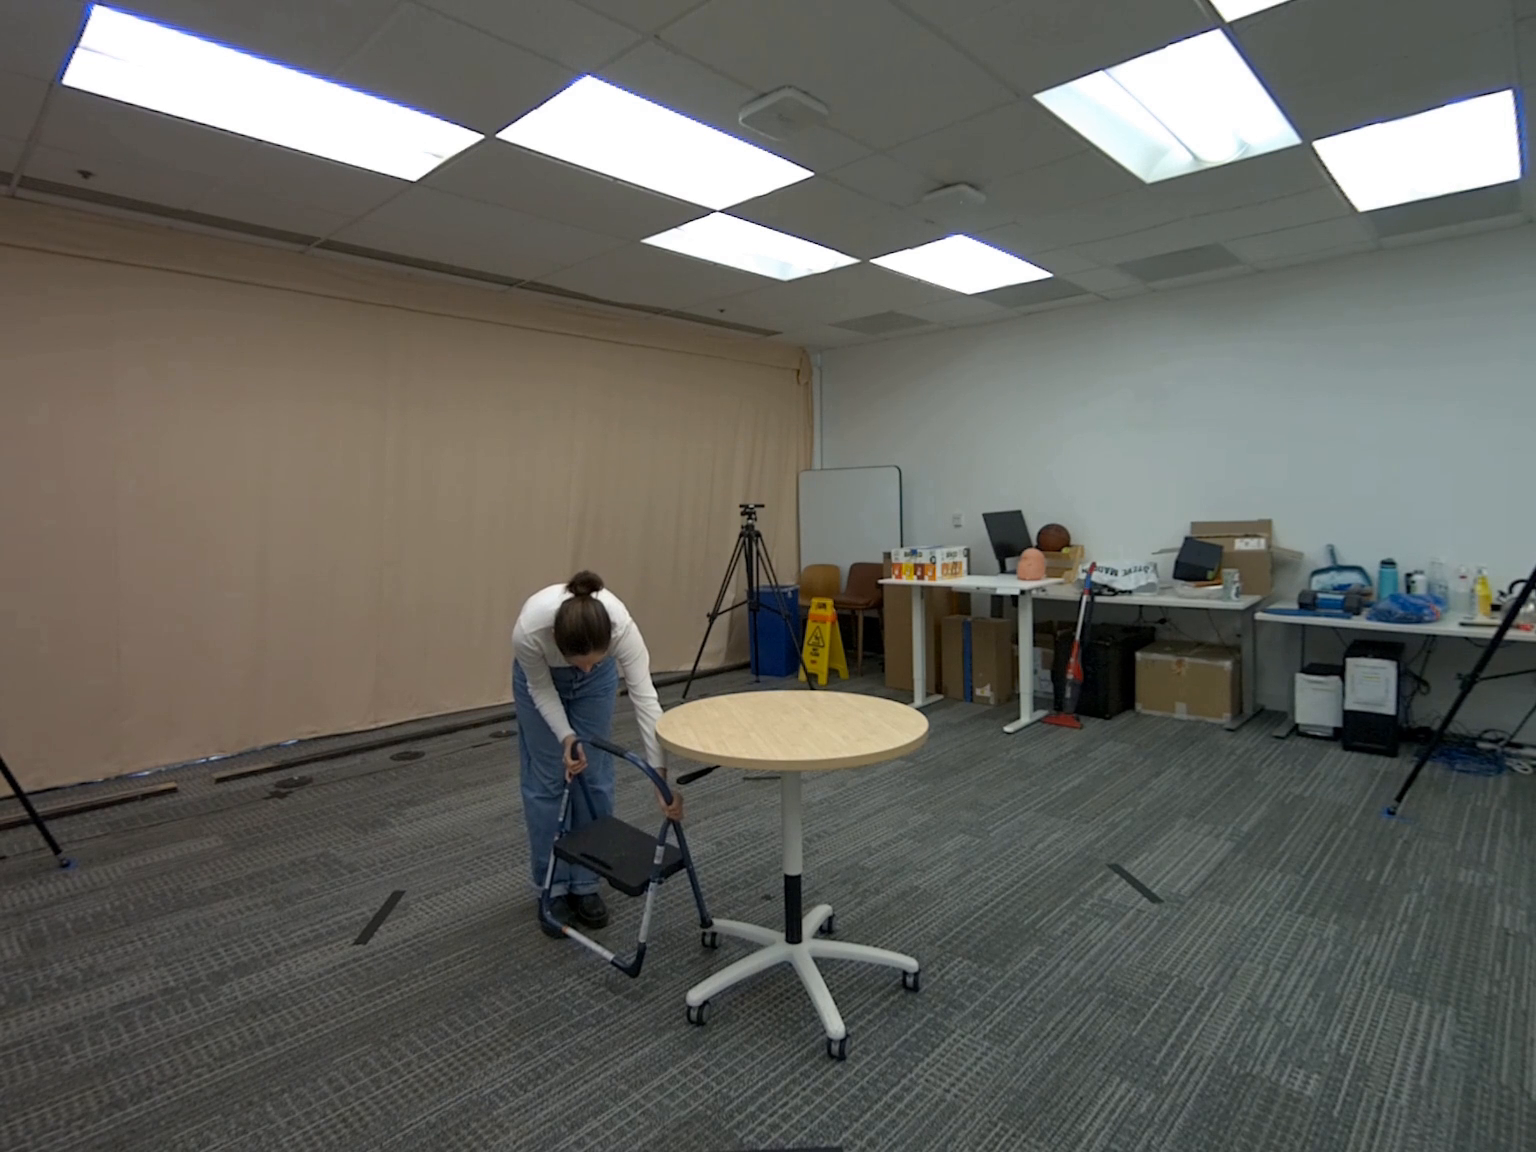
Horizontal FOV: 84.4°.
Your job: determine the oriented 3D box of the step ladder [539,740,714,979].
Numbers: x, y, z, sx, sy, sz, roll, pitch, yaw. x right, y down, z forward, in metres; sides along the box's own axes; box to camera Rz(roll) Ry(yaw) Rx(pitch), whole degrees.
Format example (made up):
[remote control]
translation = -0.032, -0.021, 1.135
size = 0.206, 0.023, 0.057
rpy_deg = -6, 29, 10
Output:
[step ladder]
translation = -0.420, 0.766, 2.530
size = 0.445, 0.602, 0.340
rpy_deg = 11, 13, 34
